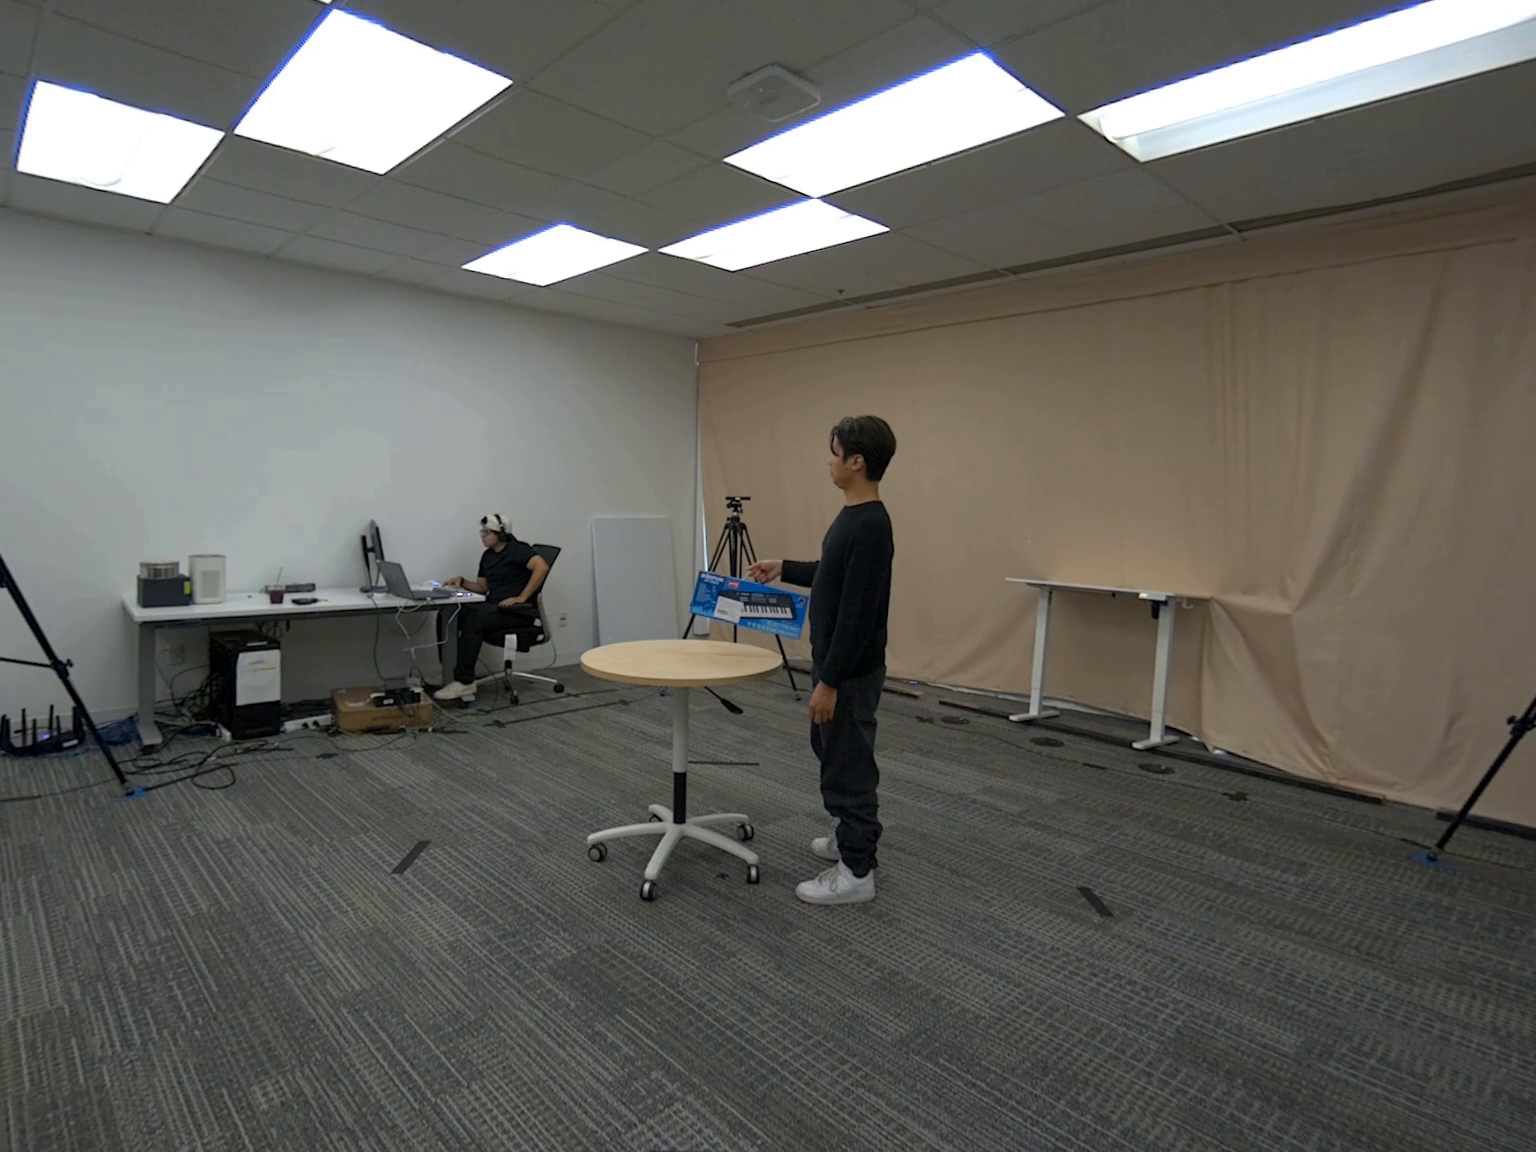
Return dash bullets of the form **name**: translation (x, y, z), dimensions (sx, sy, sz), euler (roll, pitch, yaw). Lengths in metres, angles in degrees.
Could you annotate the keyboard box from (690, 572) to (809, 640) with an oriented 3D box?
- **keyboard box**: translation (-0.073, 0.116, 3.256), dimensions (0.440, 0.176, 0.059), euler (13, 1, 7)
